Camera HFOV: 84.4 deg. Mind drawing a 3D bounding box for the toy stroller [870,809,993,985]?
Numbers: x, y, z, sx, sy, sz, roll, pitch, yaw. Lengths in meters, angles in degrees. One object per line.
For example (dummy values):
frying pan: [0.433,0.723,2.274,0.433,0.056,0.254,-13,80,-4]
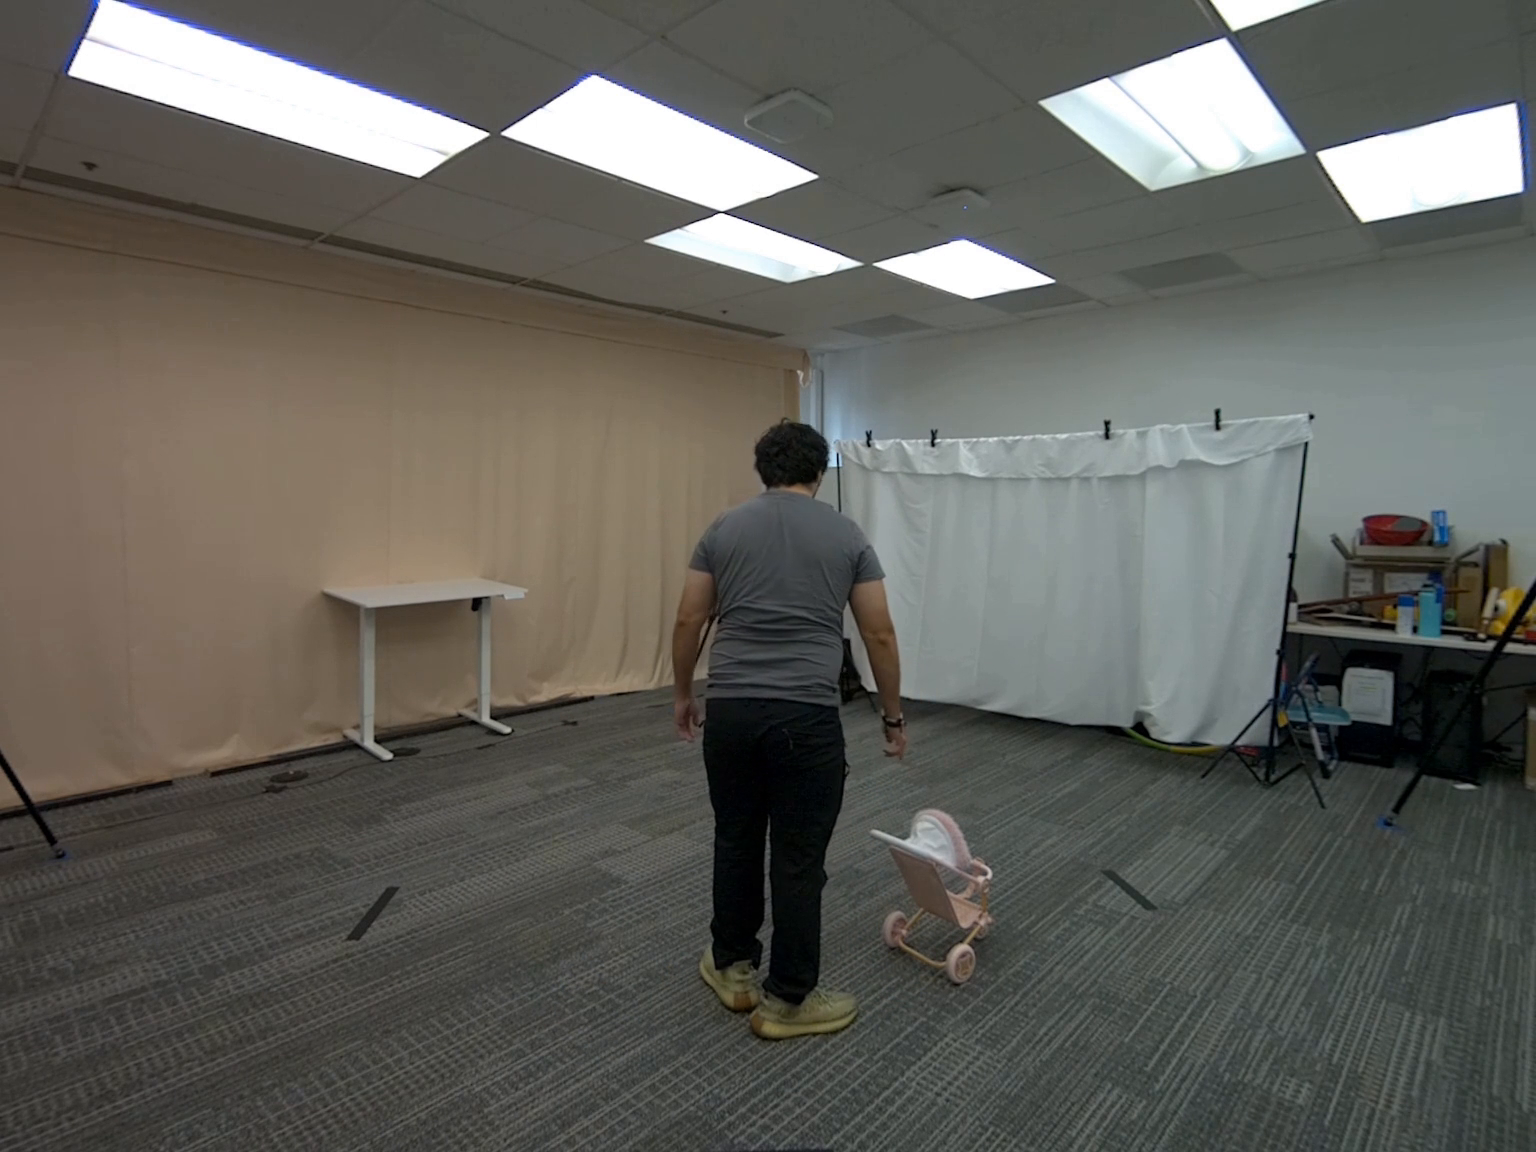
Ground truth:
toy stroller: [0.537,0.952,2.580,0.334,0.529,0.290,-21,14,-32]
